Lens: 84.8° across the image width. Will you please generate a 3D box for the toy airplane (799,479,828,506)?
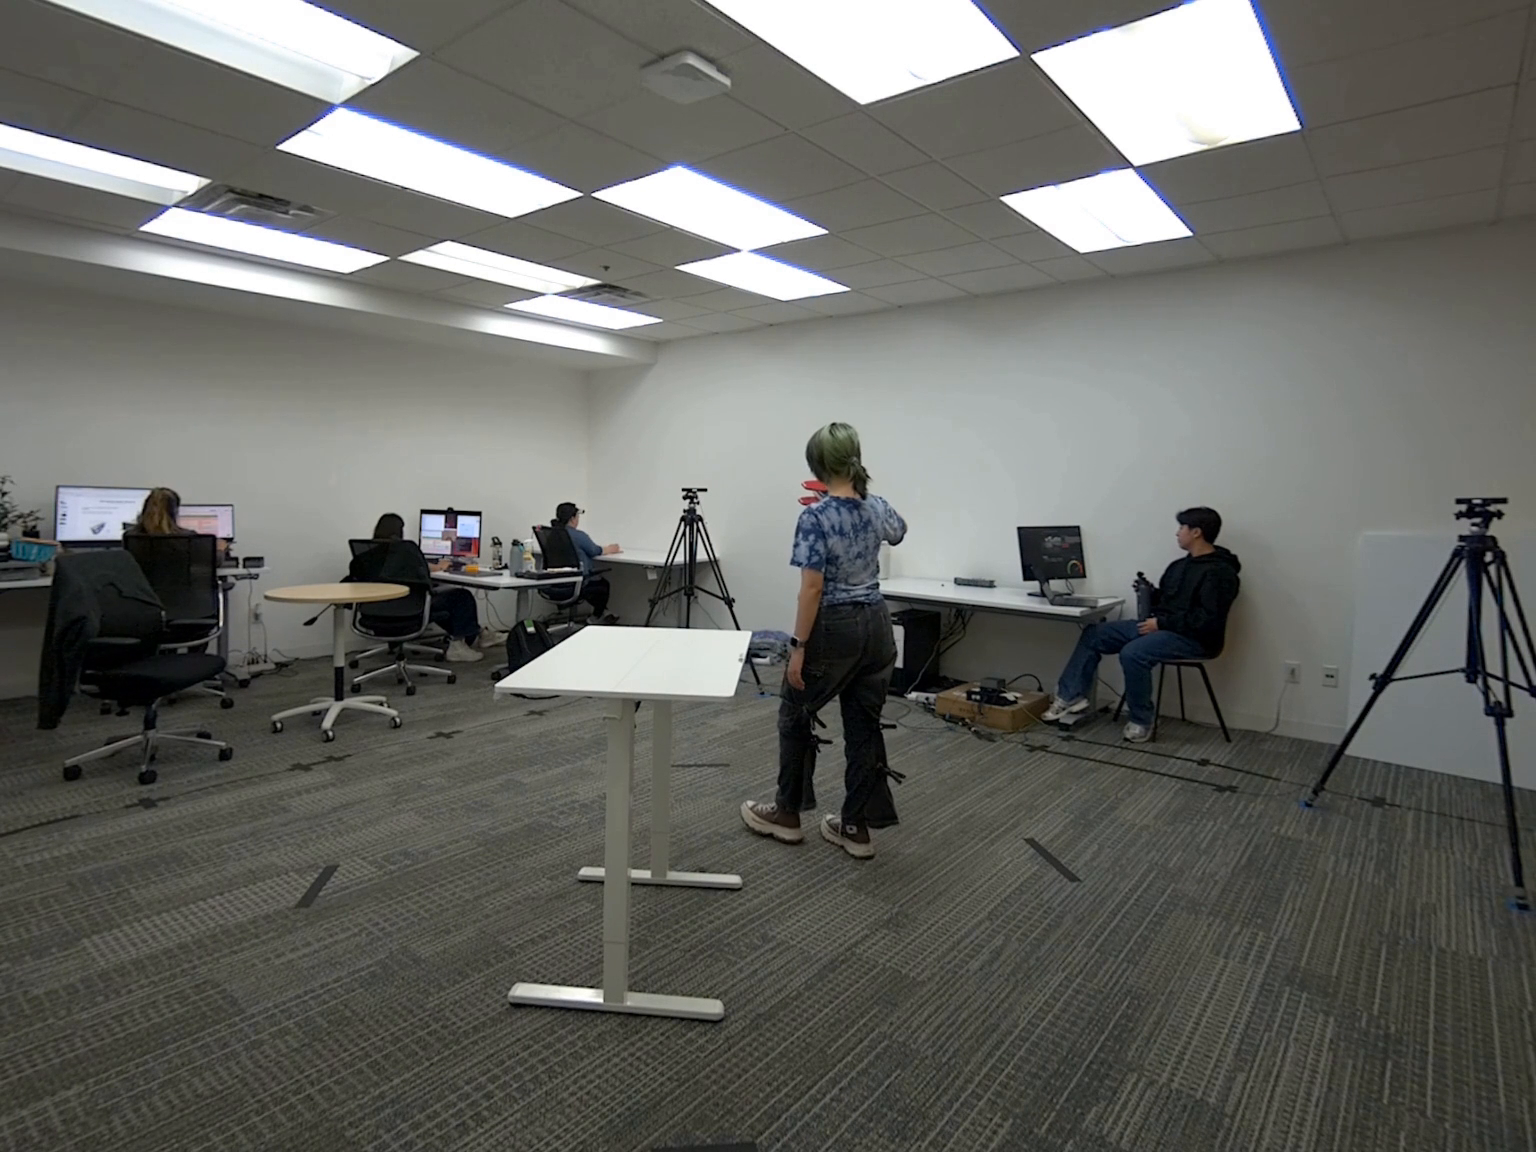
[{"bbox_3d":[0.277,-0.344,3.817,0.269,0.154,0.245,15,19,37],"label":"toy airplane"}]
